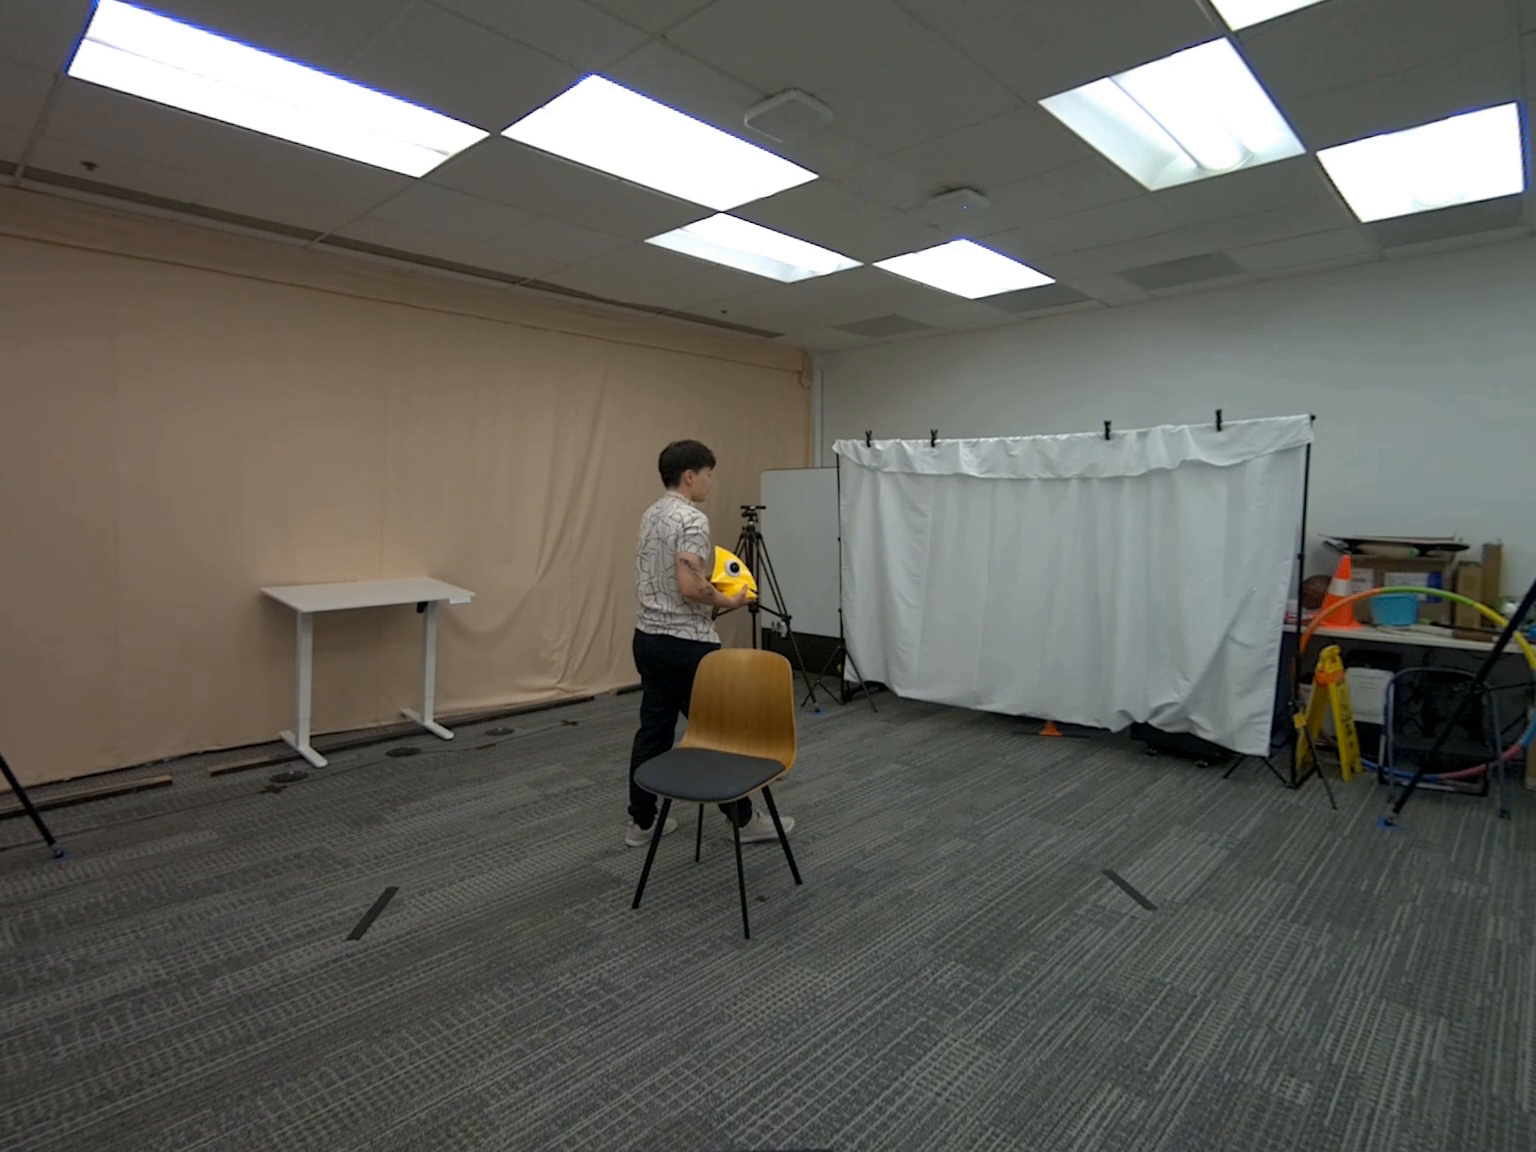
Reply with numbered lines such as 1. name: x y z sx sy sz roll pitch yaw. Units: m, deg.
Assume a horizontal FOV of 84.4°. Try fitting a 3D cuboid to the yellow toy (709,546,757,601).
1. yellow toy: -0.144 -0.017 3.556 0.193 0.231 0.204 -6 -2 1
